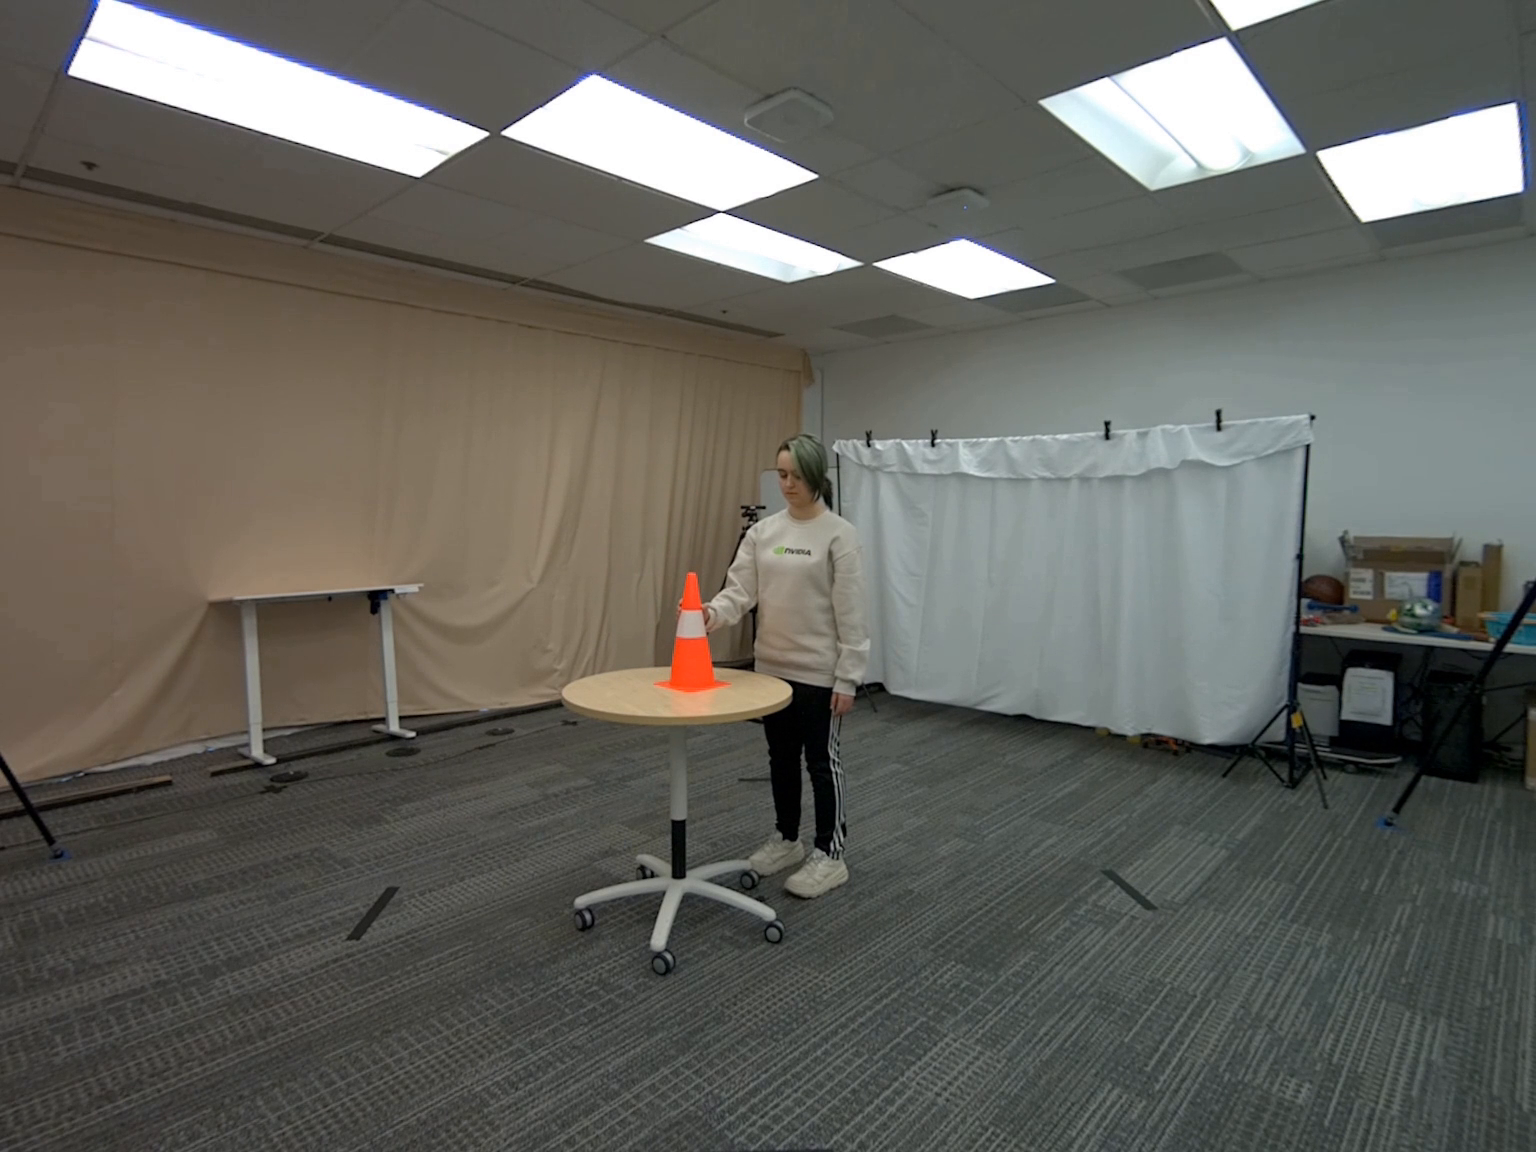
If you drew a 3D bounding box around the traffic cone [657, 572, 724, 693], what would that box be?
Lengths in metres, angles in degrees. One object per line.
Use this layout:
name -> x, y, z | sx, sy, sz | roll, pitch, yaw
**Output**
traffic cone -> -0.257, 0.183, 2.878 | 0.211, 0.383, 0.197 | 0, 3, 35
